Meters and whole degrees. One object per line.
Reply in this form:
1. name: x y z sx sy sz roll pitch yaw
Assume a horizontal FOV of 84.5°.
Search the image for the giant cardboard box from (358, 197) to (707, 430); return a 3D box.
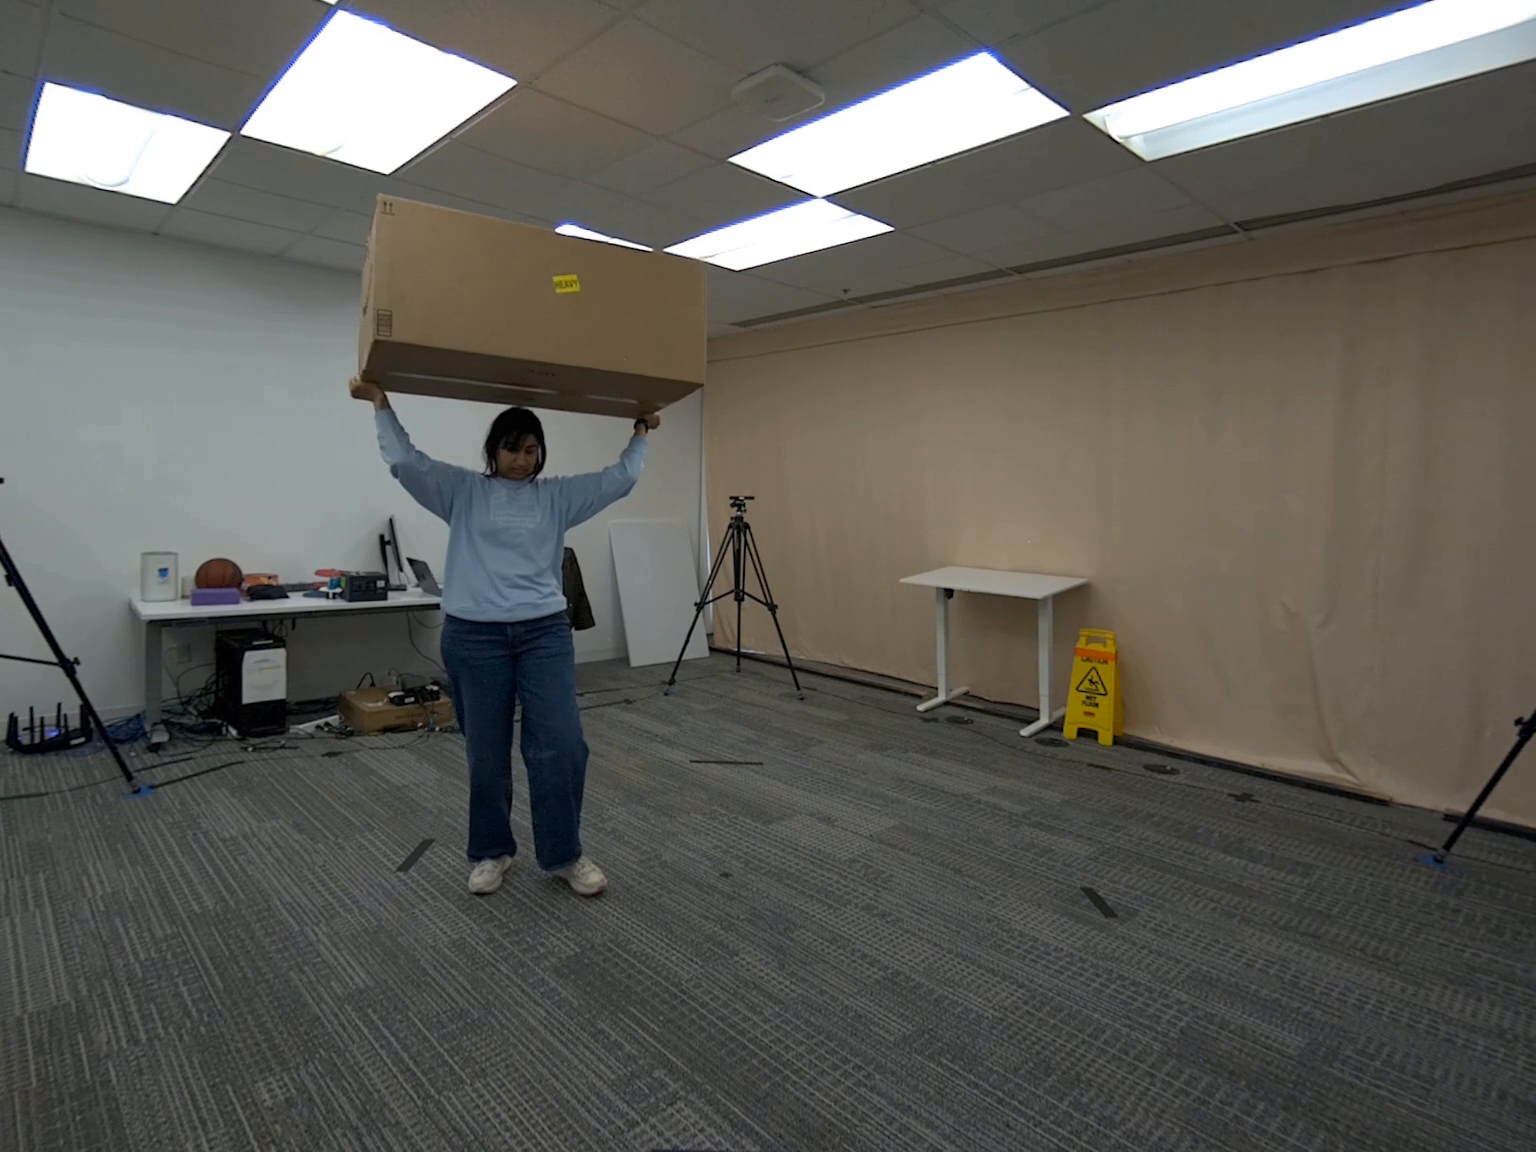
1. giant cardboard box: -0.785 -0.835 2.817 1.005 0.427 0.587 2 -4 -28
